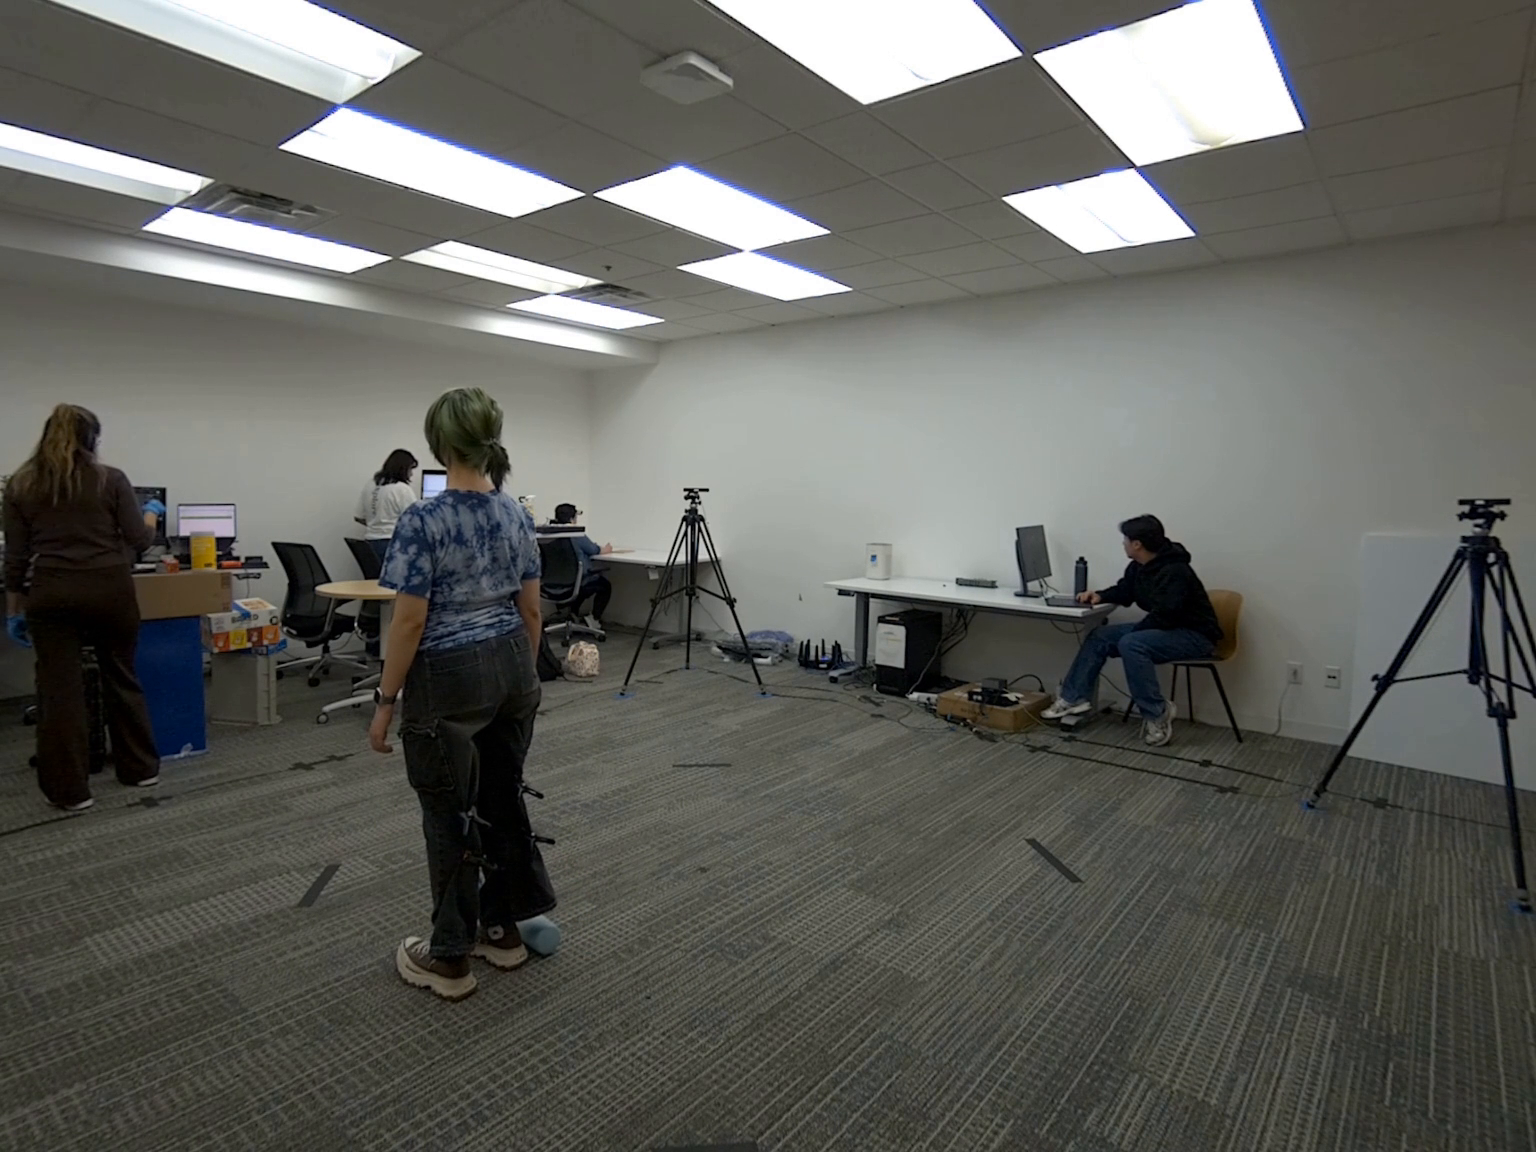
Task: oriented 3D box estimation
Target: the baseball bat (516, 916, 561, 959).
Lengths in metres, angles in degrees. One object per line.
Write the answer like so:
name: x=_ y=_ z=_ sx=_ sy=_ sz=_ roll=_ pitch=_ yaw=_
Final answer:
baseball bat: x=-0.840 y=1.066 z=2.702 sx=0.086 sy=0.089 sz=0.561 roll=-3 pitch=4 yaw=-43
